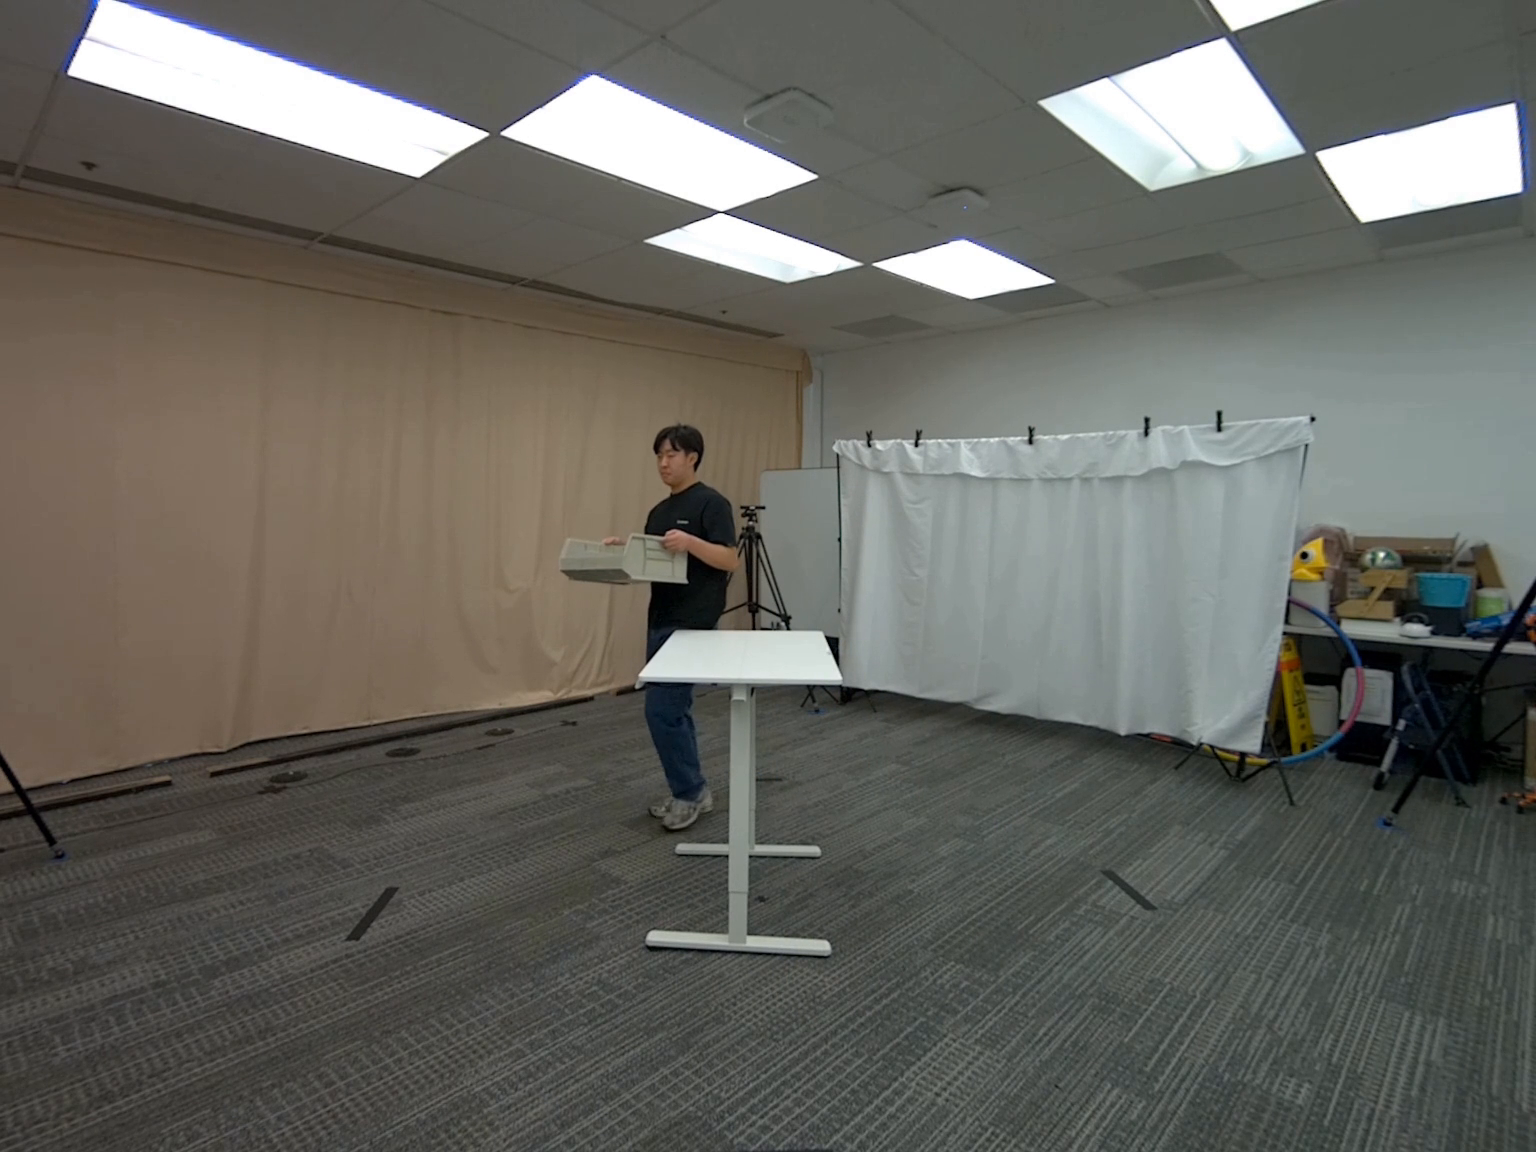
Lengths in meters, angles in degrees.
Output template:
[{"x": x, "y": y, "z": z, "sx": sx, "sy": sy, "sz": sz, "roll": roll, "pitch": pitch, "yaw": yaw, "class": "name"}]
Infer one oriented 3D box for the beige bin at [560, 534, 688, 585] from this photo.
[{"x": -0.601, "y": -0.059, "z": 3.534, "sx": 0.435, "sy": 0.189, "sz": 0.364, "roll": -2, "pitch": -7, "yaw": 41, "class": "beige bin"}]
